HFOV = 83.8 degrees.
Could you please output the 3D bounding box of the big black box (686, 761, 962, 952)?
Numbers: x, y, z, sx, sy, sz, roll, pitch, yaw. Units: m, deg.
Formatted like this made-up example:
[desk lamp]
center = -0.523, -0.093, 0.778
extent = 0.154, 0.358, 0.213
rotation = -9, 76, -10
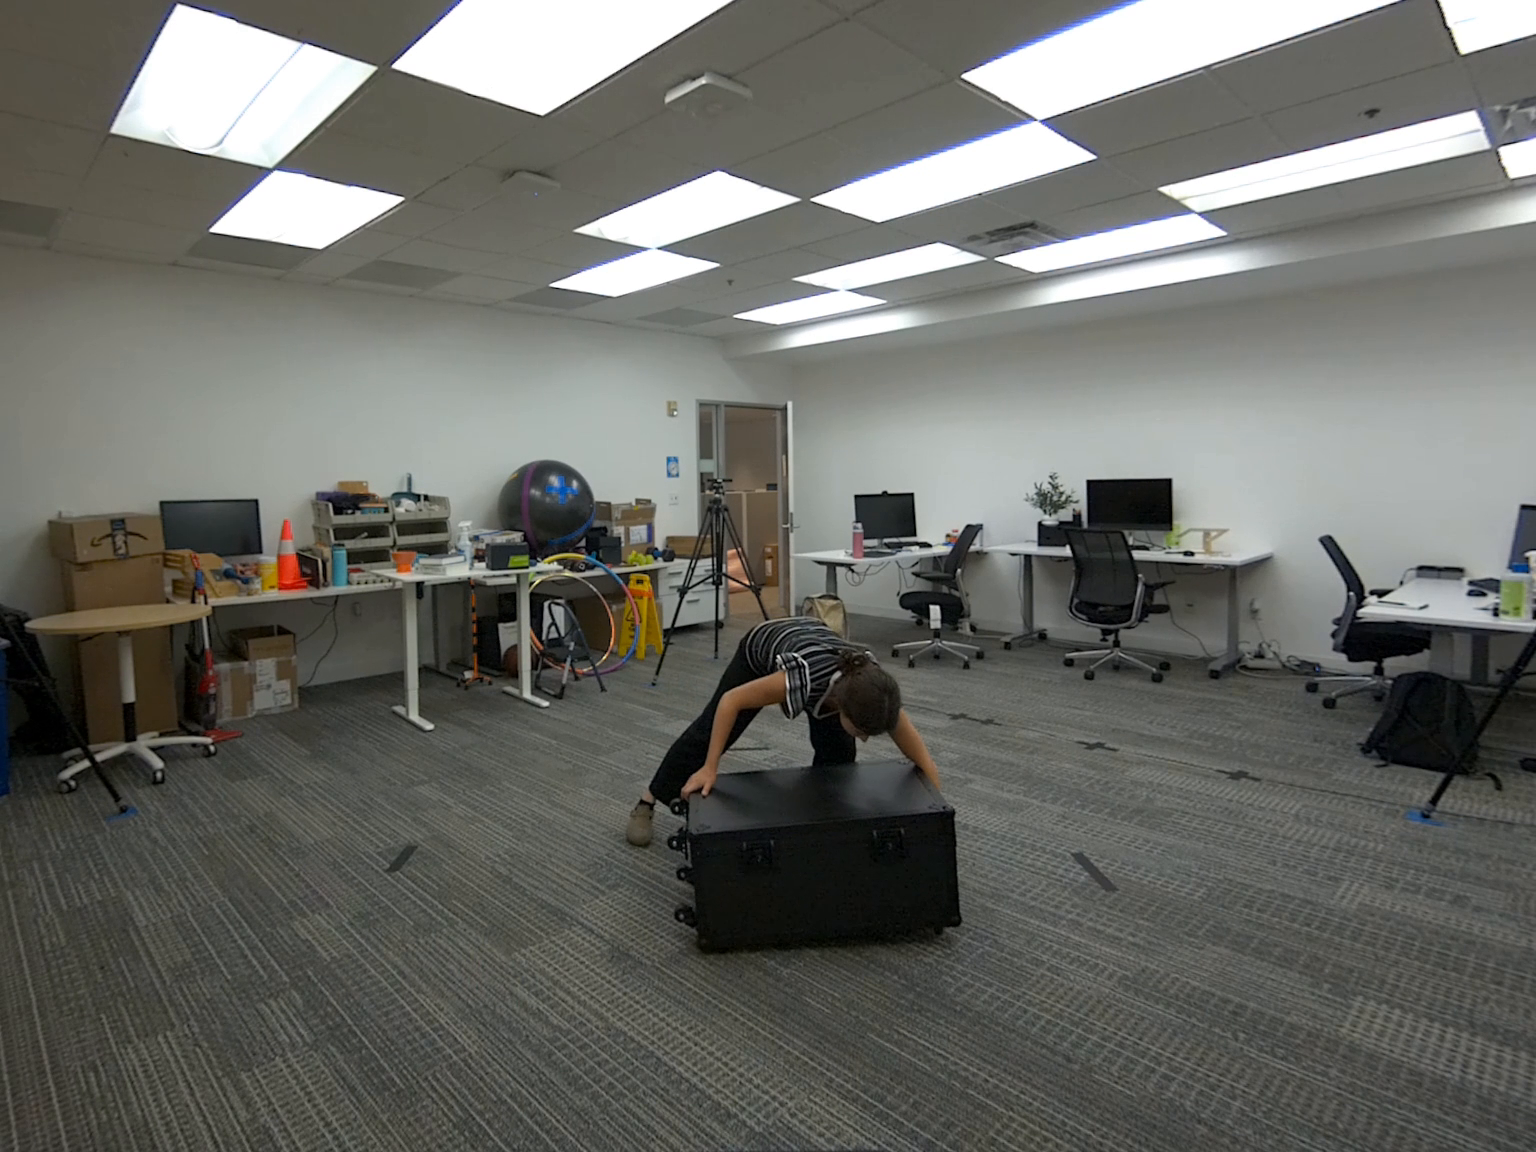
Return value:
[big black box]
center = 0.117, 0.878, 2.742
extent = 0.860, 0.394, 0.525
rotation = -4, 7, -2
